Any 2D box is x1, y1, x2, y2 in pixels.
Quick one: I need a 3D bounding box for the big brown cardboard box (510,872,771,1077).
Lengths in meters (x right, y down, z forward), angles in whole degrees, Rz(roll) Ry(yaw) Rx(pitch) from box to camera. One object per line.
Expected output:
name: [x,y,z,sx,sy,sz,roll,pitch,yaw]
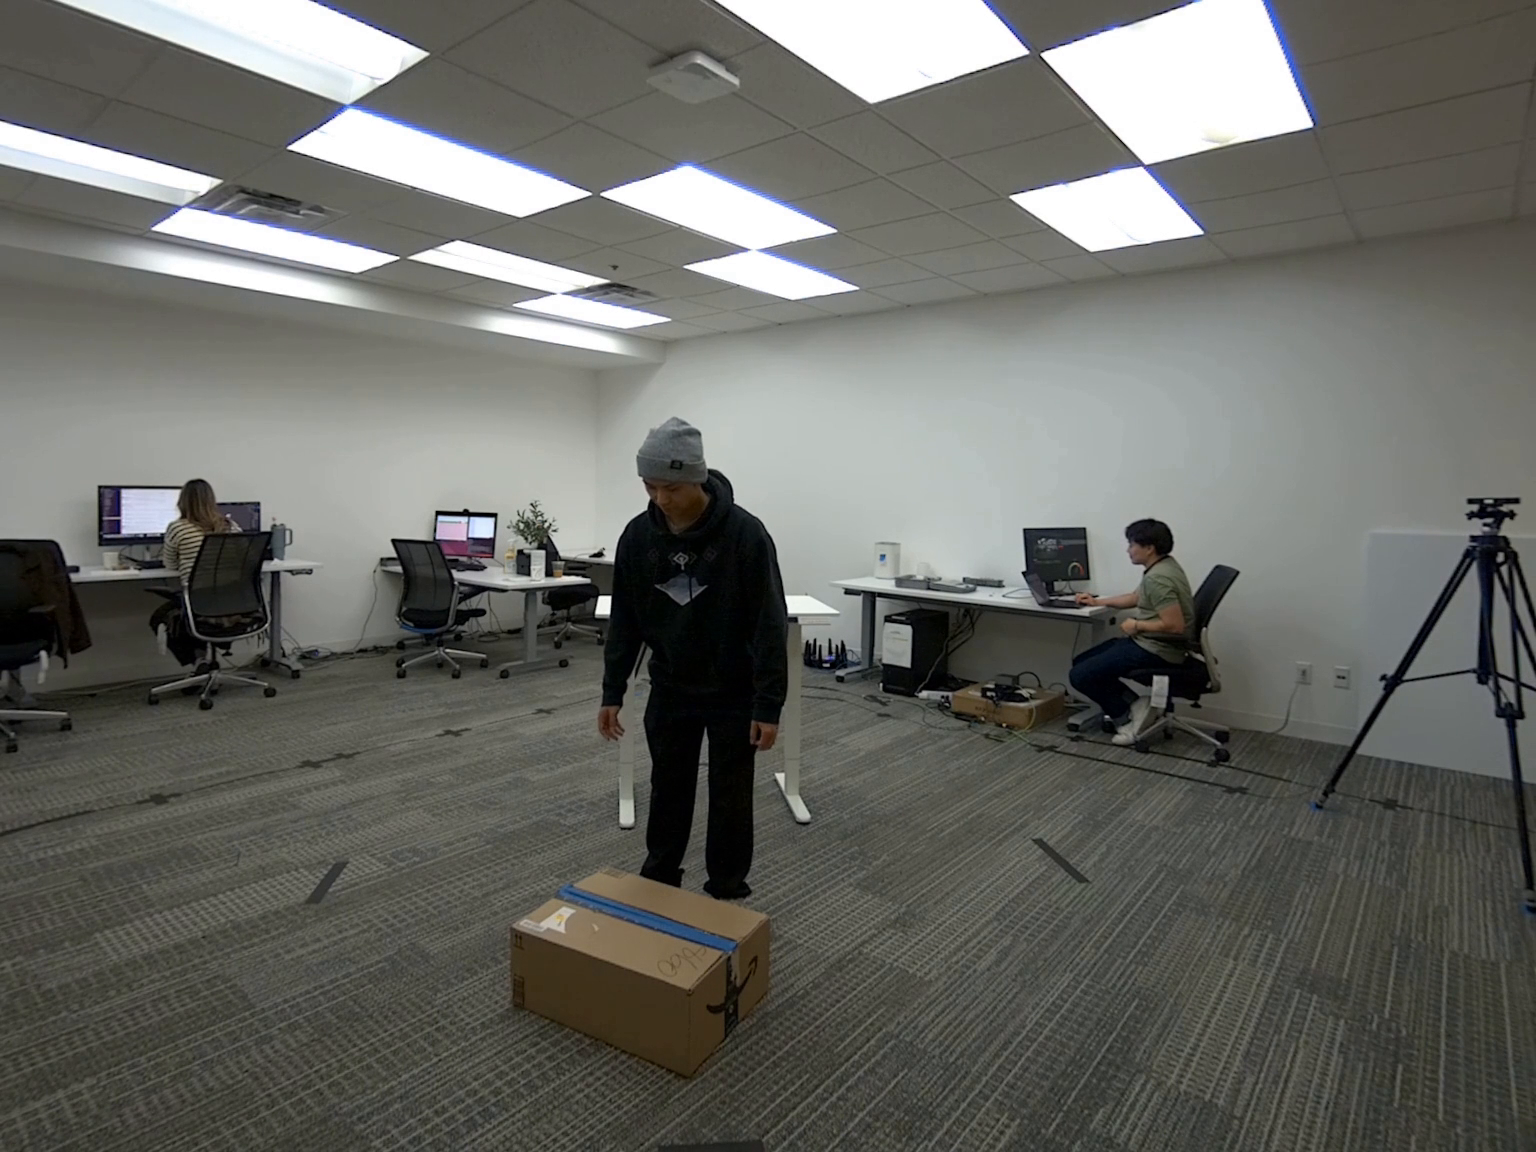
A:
big brown cardboard box: [-0.353,1.031,2.310,0.606,0.232,0.408,4,7,28]
